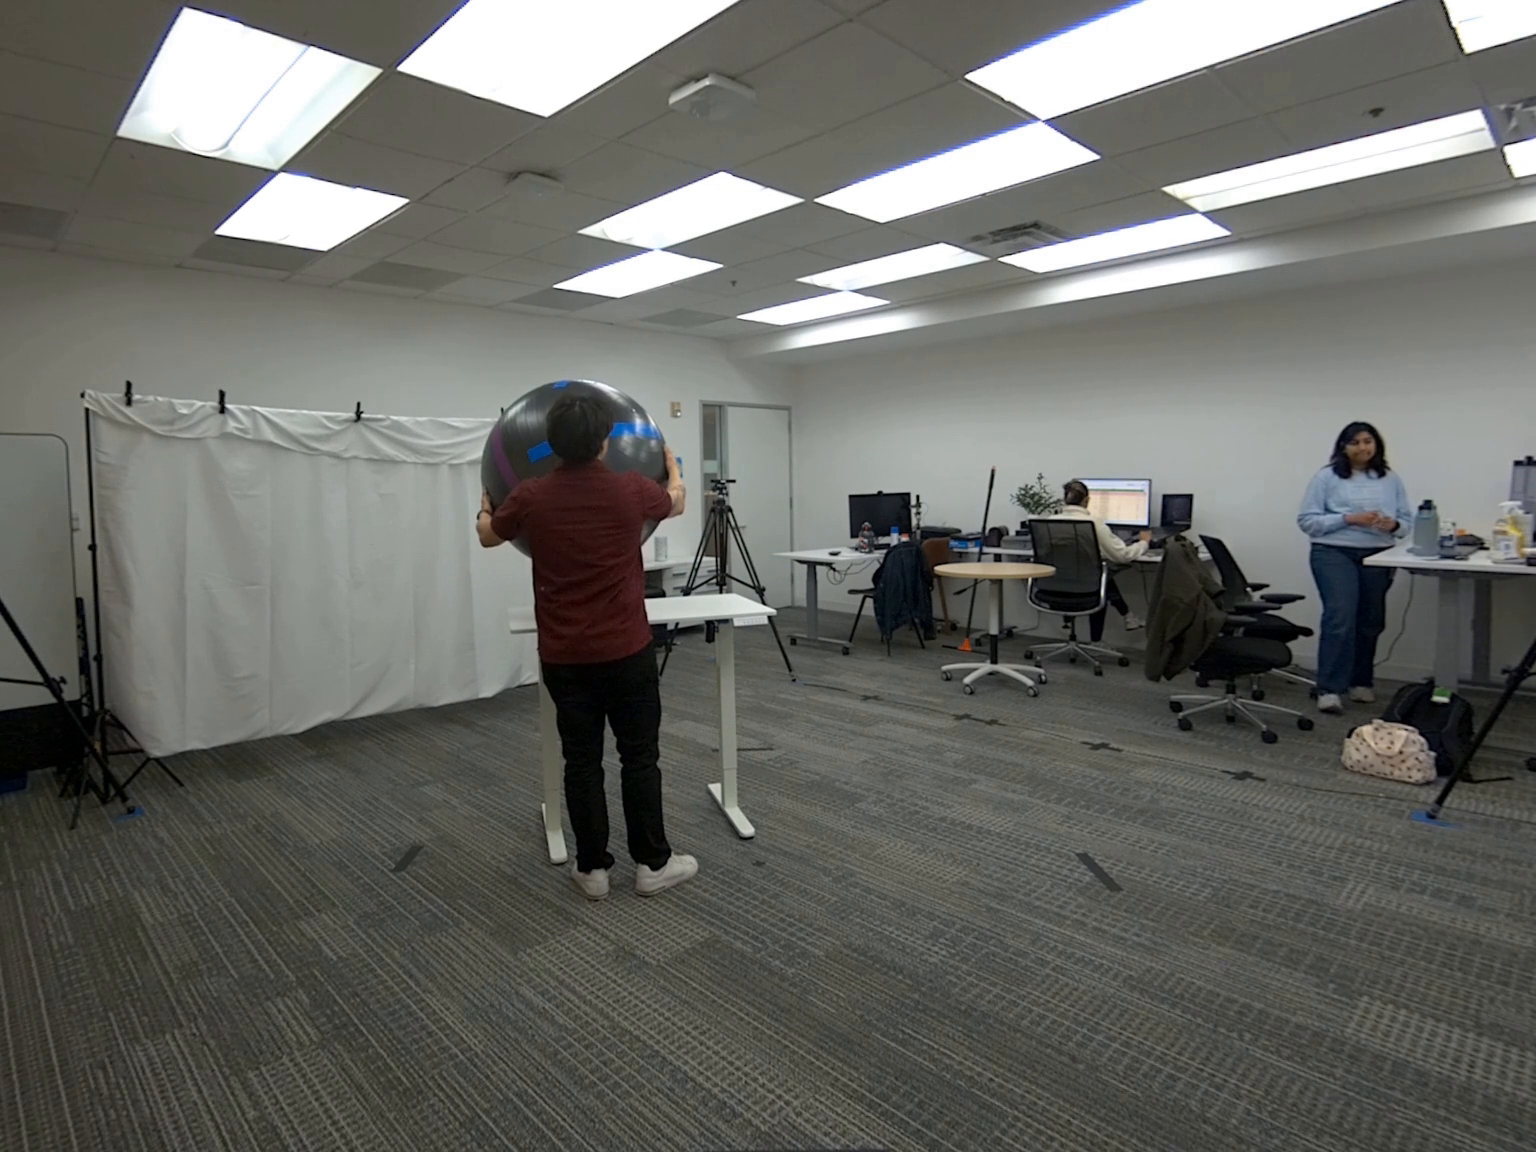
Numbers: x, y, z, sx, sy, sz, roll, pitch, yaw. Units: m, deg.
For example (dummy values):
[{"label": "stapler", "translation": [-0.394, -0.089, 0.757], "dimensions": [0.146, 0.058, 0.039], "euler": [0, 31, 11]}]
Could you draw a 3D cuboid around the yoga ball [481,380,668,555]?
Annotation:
[{"label": "yoga ball", "translation": [-0.774, -0.396, 3.440], "dimensions": [0.757, 0.755, 0.762], "euler": [-1, 5, -2]}]
